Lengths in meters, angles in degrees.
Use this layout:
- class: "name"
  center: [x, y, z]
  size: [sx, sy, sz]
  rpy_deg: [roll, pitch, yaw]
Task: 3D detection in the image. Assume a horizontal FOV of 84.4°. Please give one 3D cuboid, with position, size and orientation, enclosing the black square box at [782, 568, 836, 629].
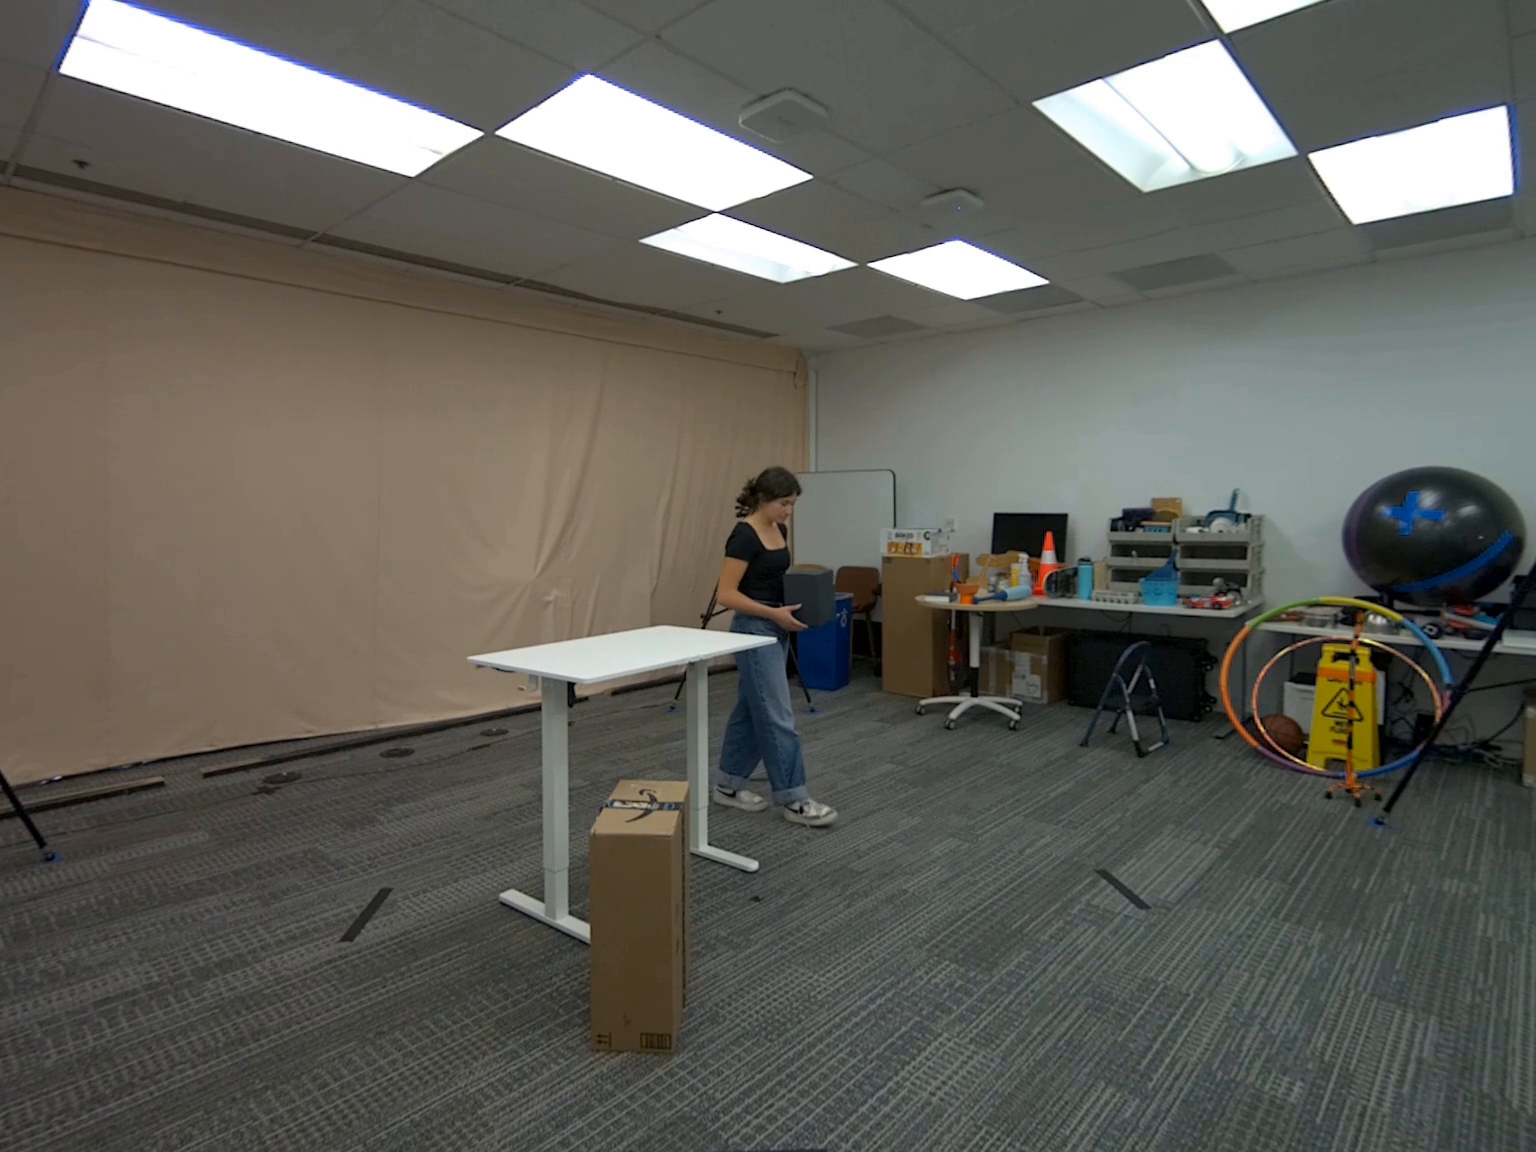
- class: "black square box"
  center: [0.188, 0.087, 3.701]
  size: [0.160, 0.227, 0.212]
  rpy_deg: [0, 5, 24]
